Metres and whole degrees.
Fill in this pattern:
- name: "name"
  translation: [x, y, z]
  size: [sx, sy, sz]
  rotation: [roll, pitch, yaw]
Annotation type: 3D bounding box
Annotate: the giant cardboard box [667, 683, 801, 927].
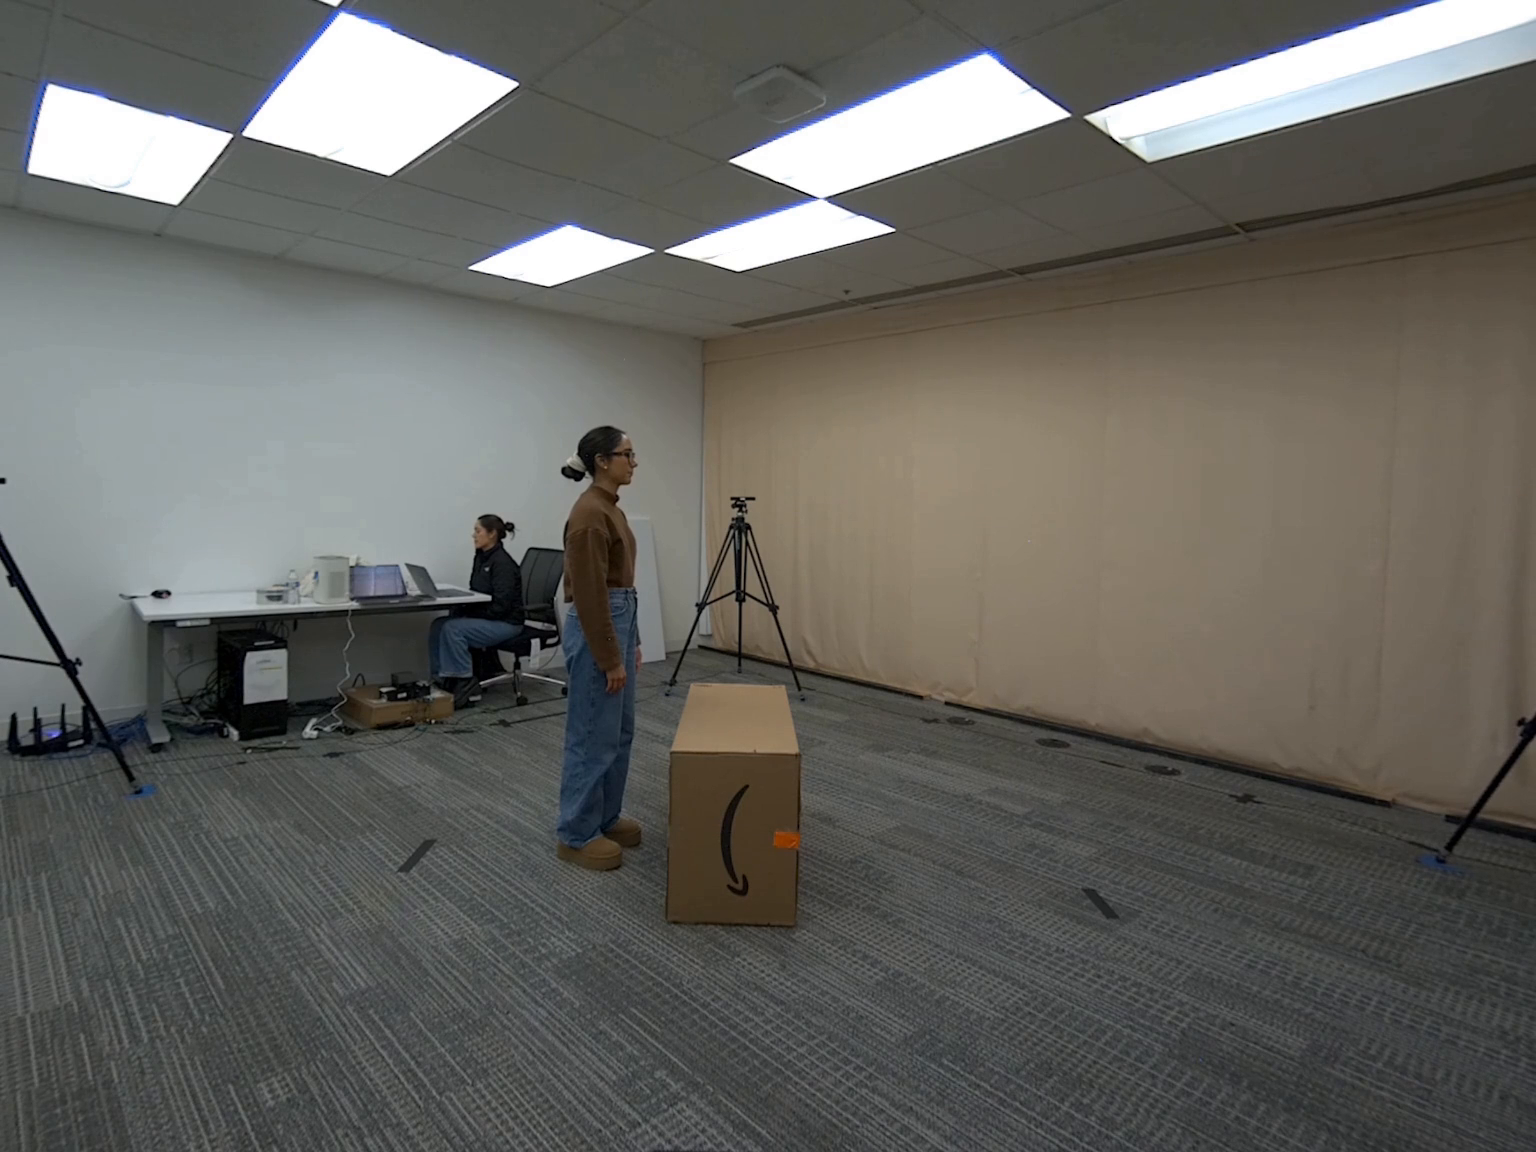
- name: "giant cardboard box"
  translation: [-0.126, 0.809, 3.233]
  size: [0.426, 0.576, 1.029]
  rotation: [2, 5, -2]
